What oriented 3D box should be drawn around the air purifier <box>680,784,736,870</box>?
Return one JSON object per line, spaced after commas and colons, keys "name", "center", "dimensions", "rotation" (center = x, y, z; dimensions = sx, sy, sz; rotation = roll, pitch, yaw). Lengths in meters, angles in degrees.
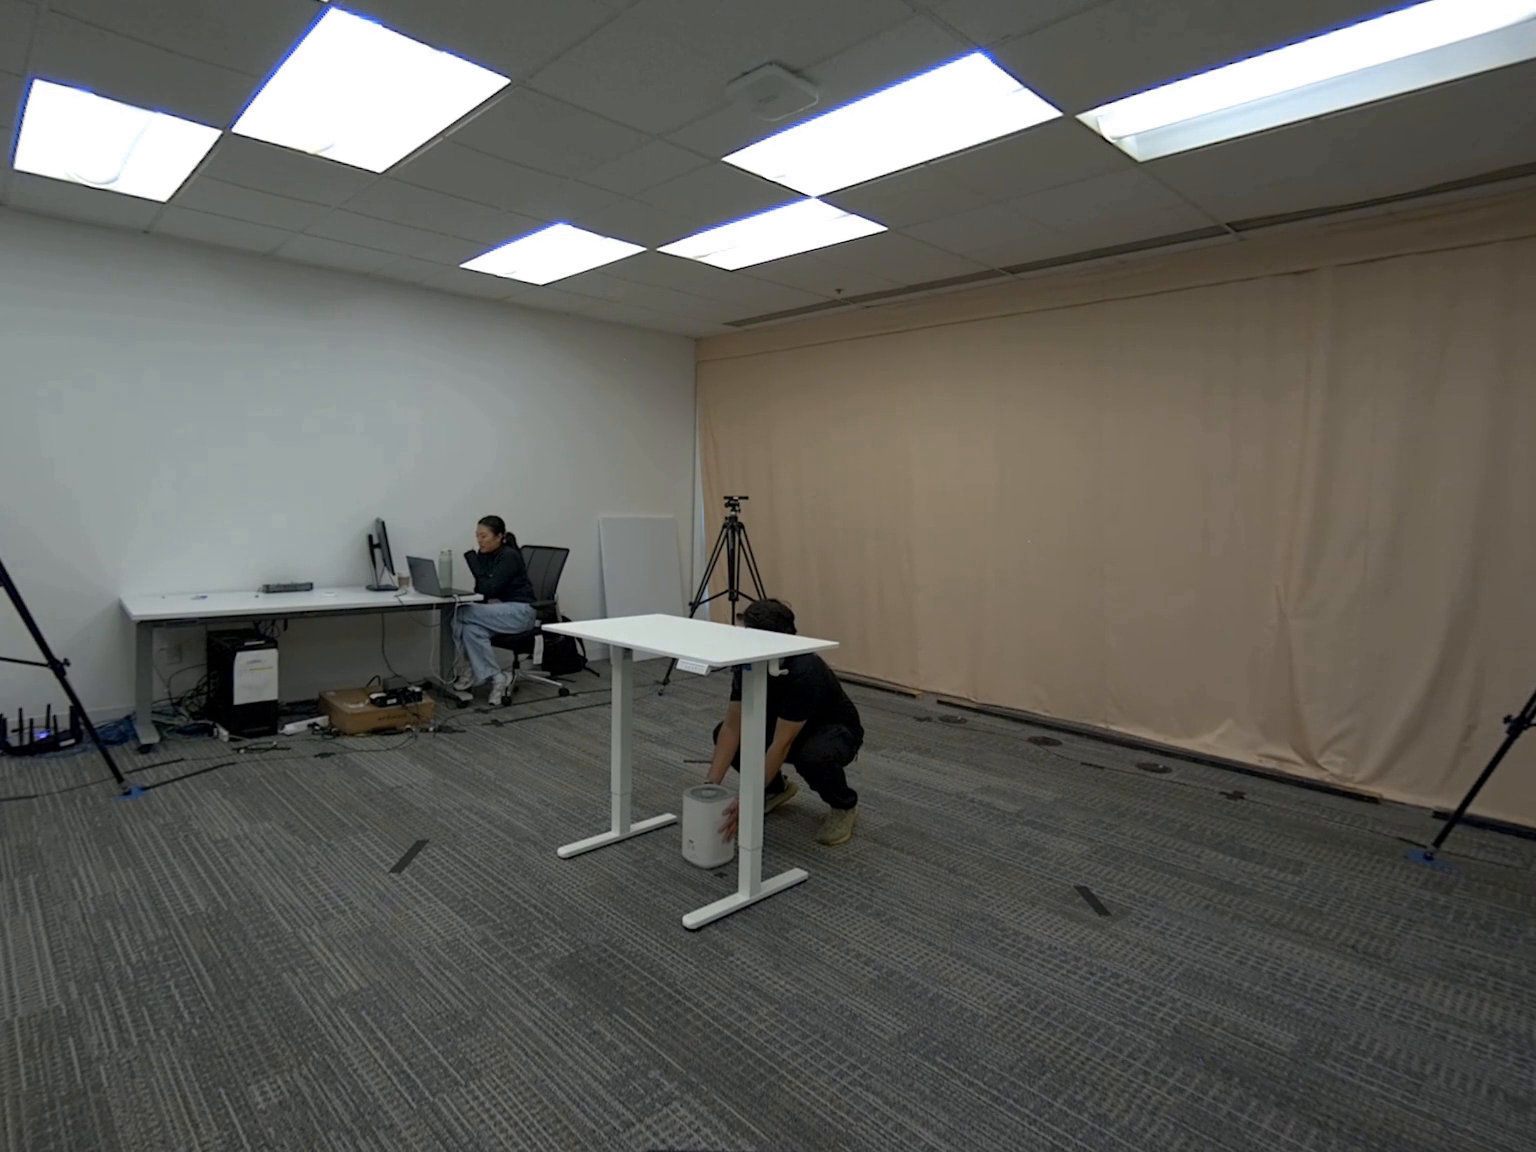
{"name": "air purifier", "center": [-0.232, 0.959, 3.218], "dimensions": [0.168, 0.264, 0.175], "rotation": [-3, 6, -43]}
